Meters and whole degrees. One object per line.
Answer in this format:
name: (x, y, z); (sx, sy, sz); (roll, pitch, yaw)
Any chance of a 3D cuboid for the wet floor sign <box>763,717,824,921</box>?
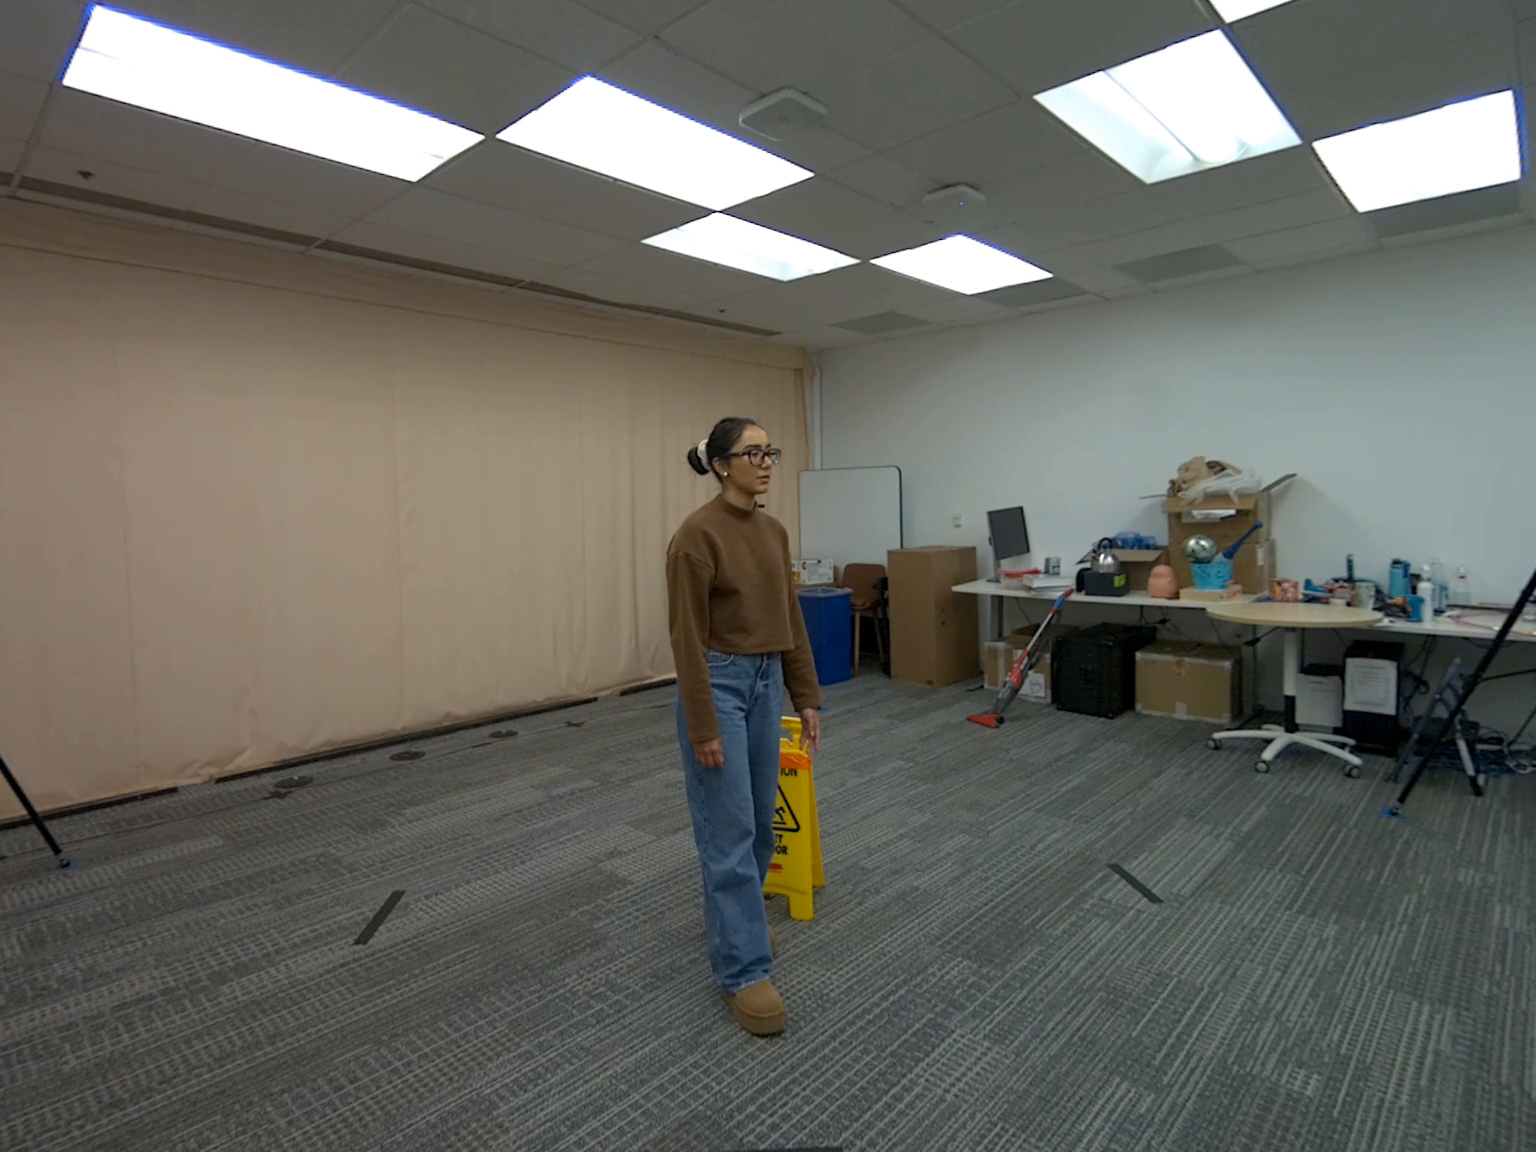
wet floor sign: (0.043, 0.817, 2.964); (0.287, 0.645, 0.285); (1, 3, 14)
